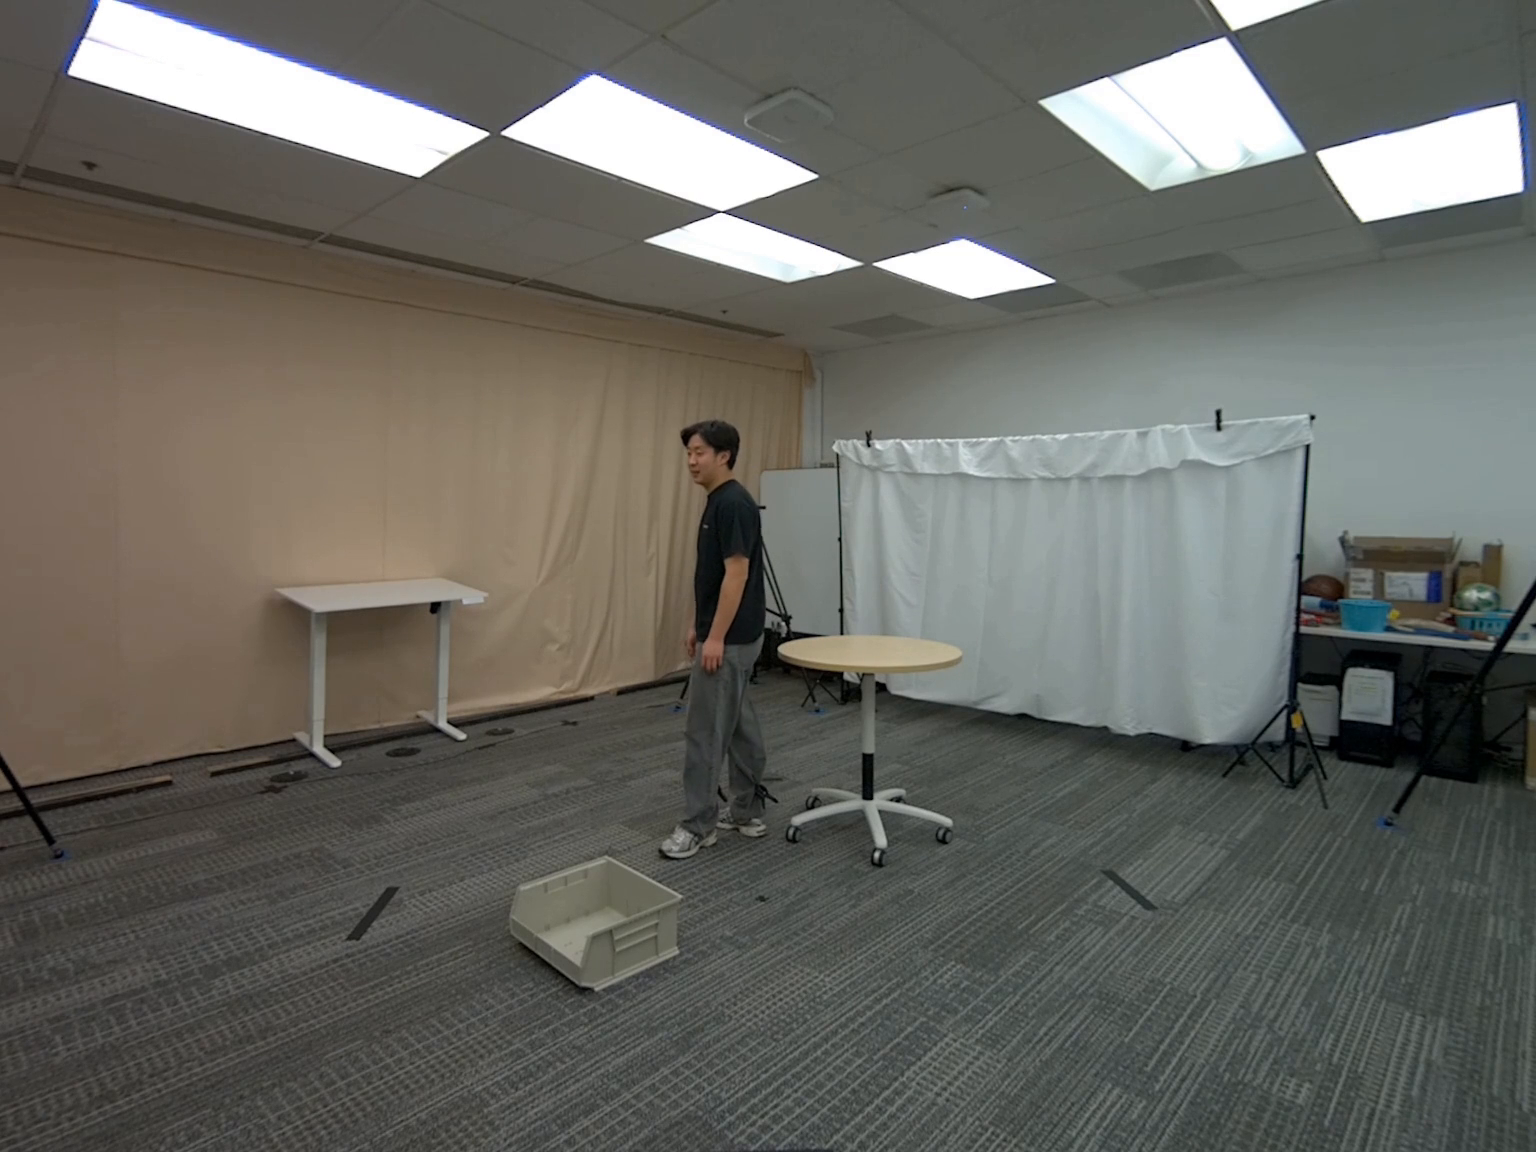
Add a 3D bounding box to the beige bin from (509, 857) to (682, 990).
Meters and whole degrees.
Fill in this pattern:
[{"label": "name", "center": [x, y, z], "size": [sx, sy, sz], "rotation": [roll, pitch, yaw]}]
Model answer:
[{"label": "beige bin", "center": [-0.544, 1.086, 2.650], "size": [0.366, 0.188, 0.436], "rotation": [-3, 5, -44]}]
